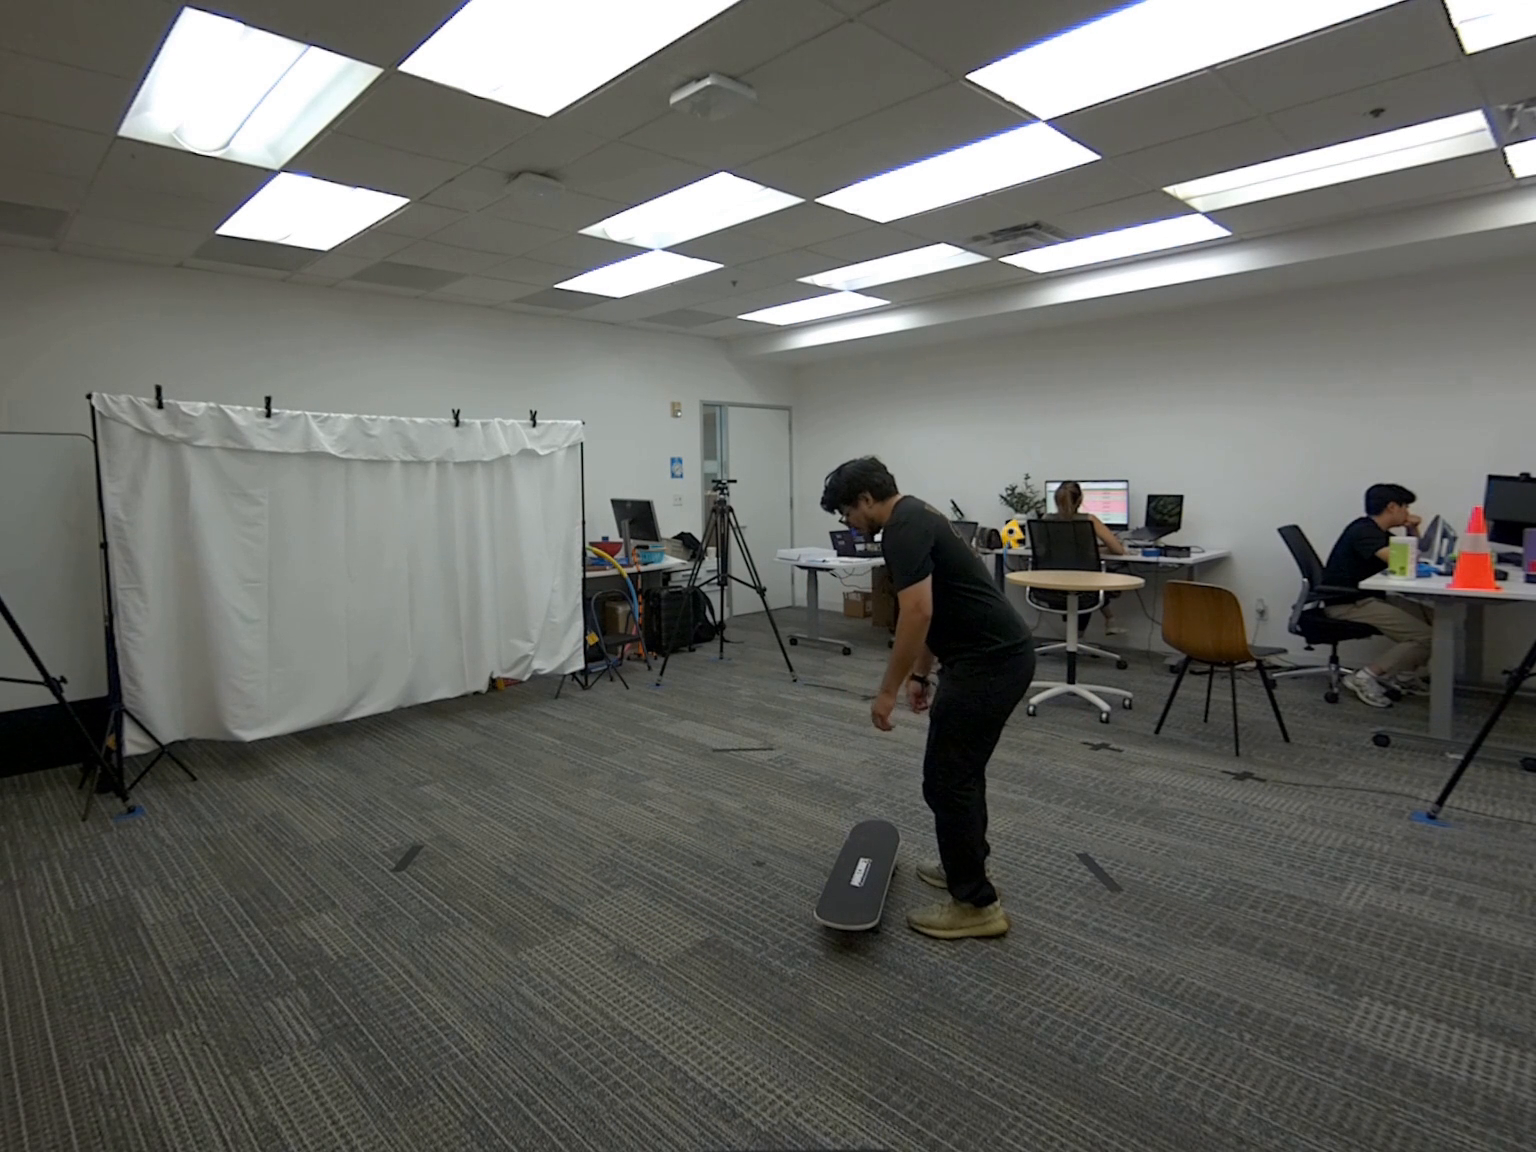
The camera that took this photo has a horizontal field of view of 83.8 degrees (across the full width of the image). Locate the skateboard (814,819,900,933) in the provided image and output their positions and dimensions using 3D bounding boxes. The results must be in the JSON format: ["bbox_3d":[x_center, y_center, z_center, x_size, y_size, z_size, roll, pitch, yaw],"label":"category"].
[{"bbox_3d":[0.314,1.013,2.842,0.196,0.110,0.777,0,7,15],"label":"skateboard"}]
